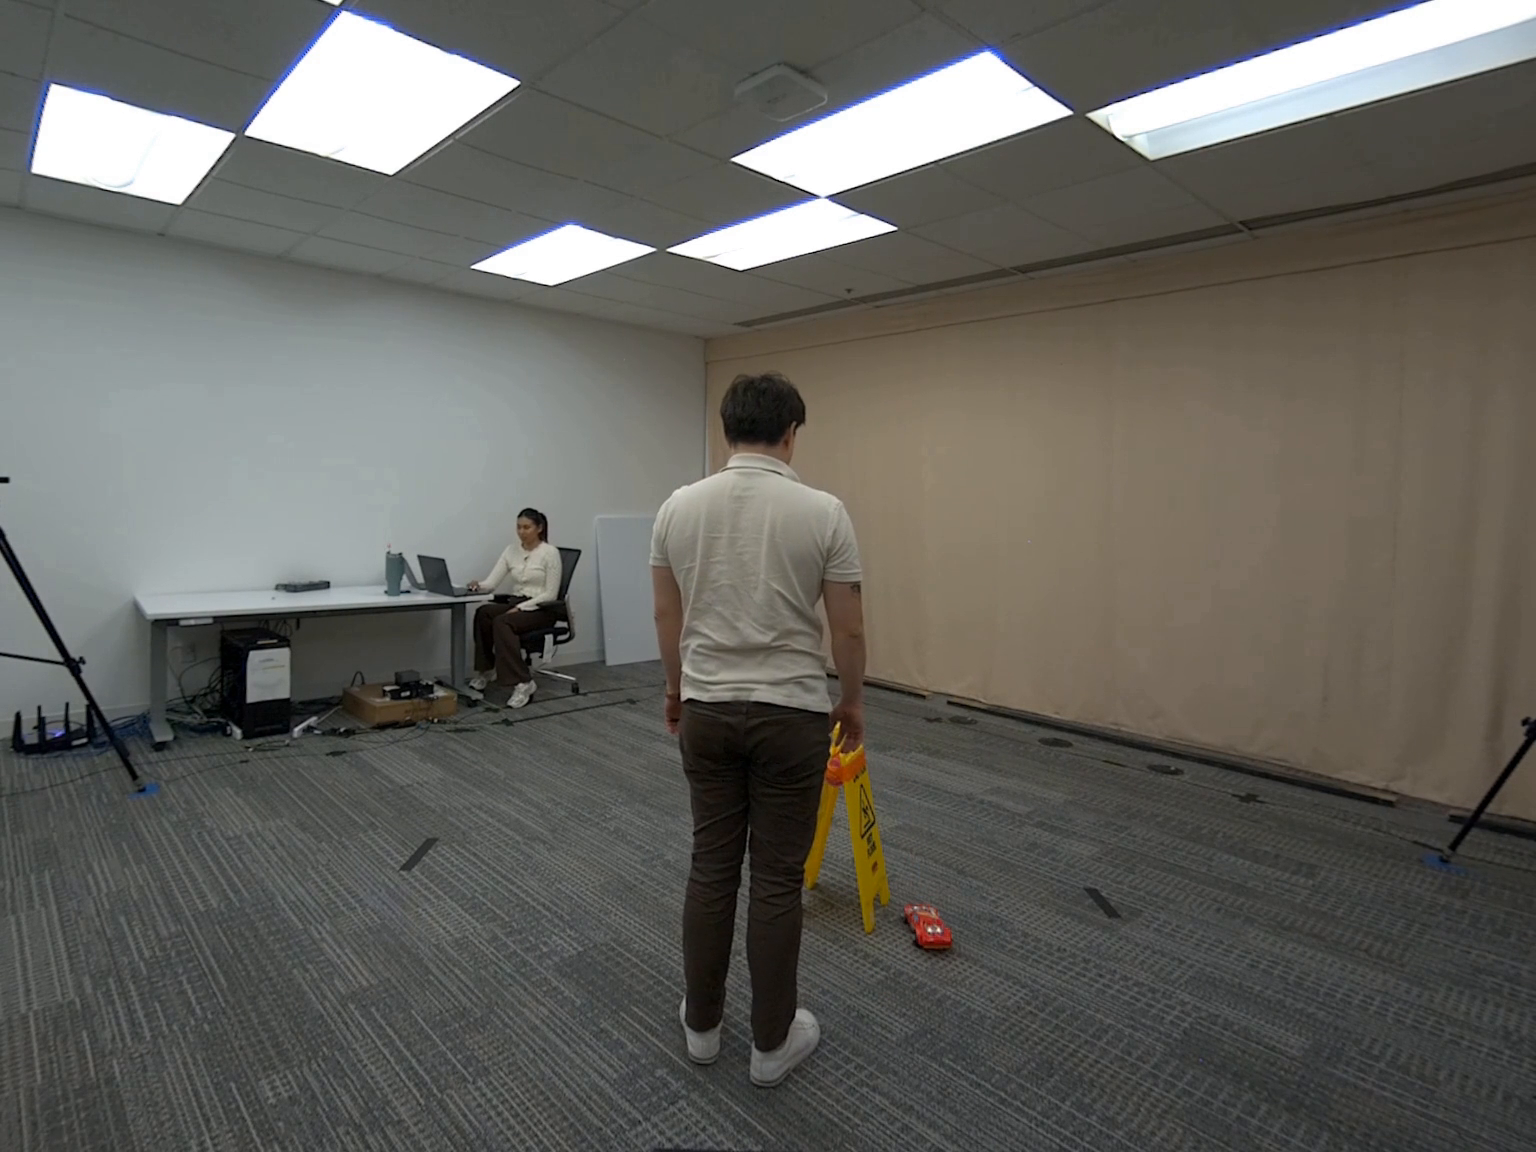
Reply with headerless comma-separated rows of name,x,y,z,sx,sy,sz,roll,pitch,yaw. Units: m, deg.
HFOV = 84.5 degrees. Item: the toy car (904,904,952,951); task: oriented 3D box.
toy car,0.507,1.125,2.684,0.130,0.084,0.254,1,-7,-4
